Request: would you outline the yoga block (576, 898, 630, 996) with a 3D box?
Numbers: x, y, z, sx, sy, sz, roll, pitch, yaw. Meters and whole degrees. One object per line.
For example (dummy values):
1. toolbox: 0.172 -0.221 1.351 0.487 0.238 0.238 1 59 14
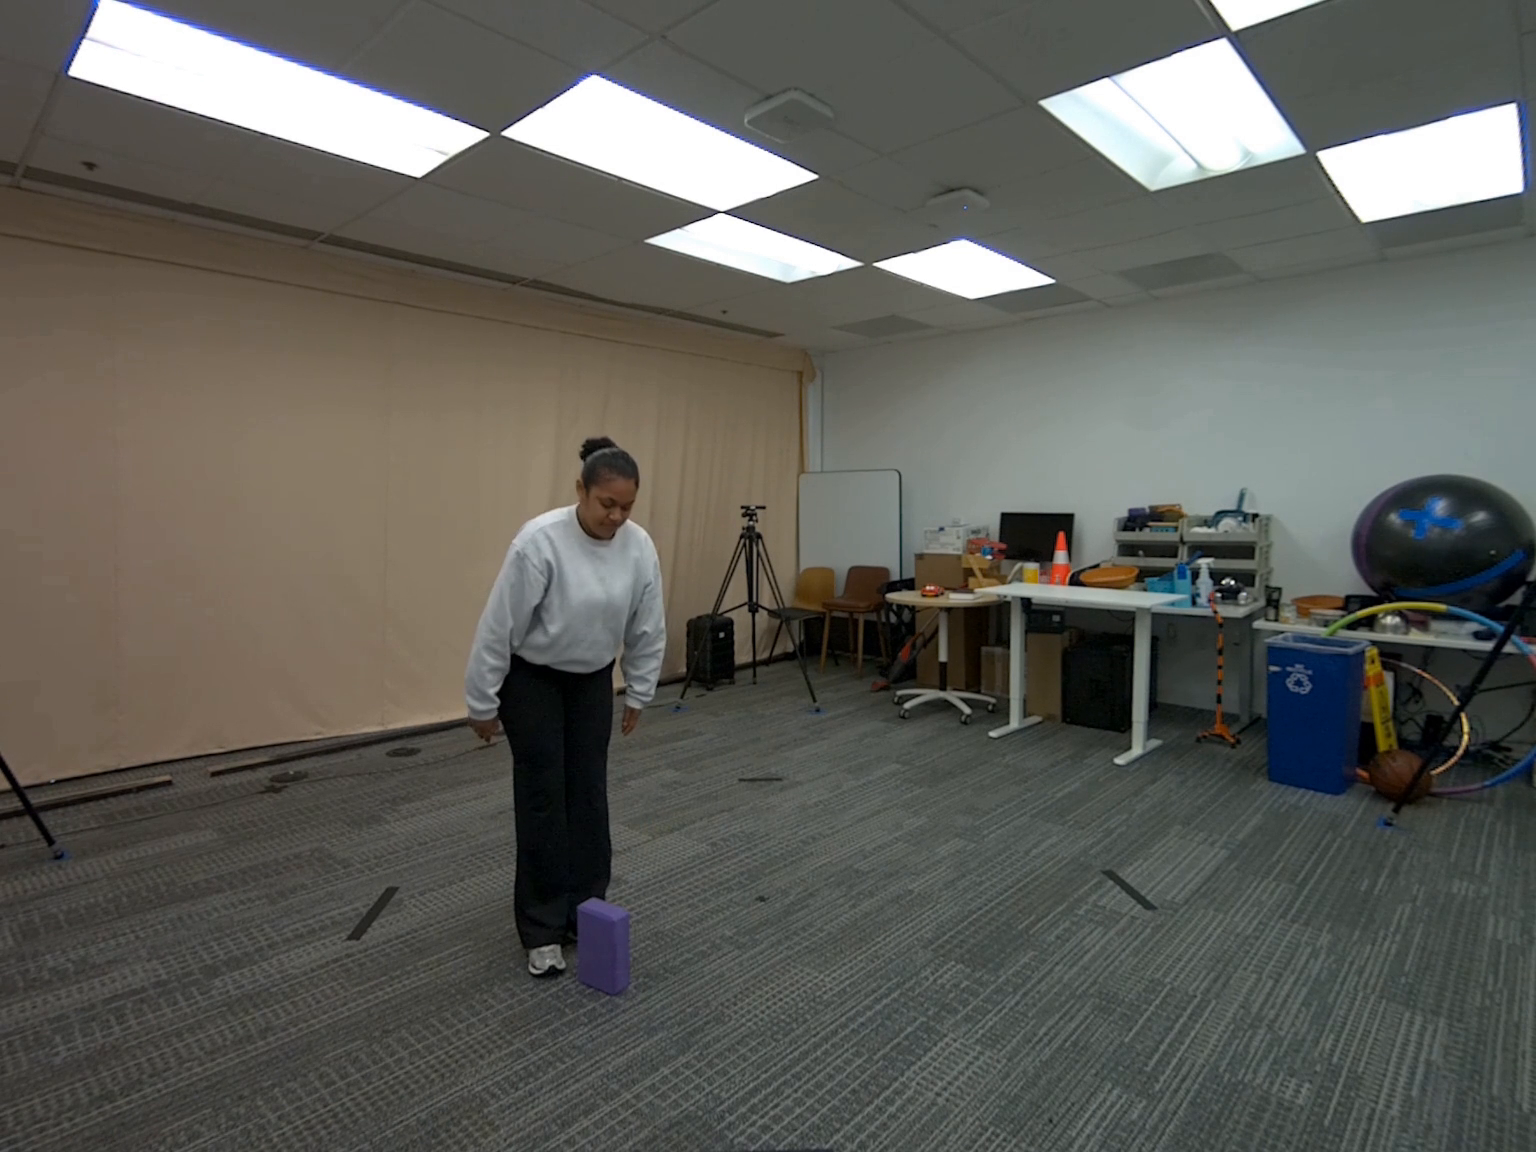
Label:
1. yoga block: -0.476 1.072 2.446 0.153 0.229 0.074 2 3 34
